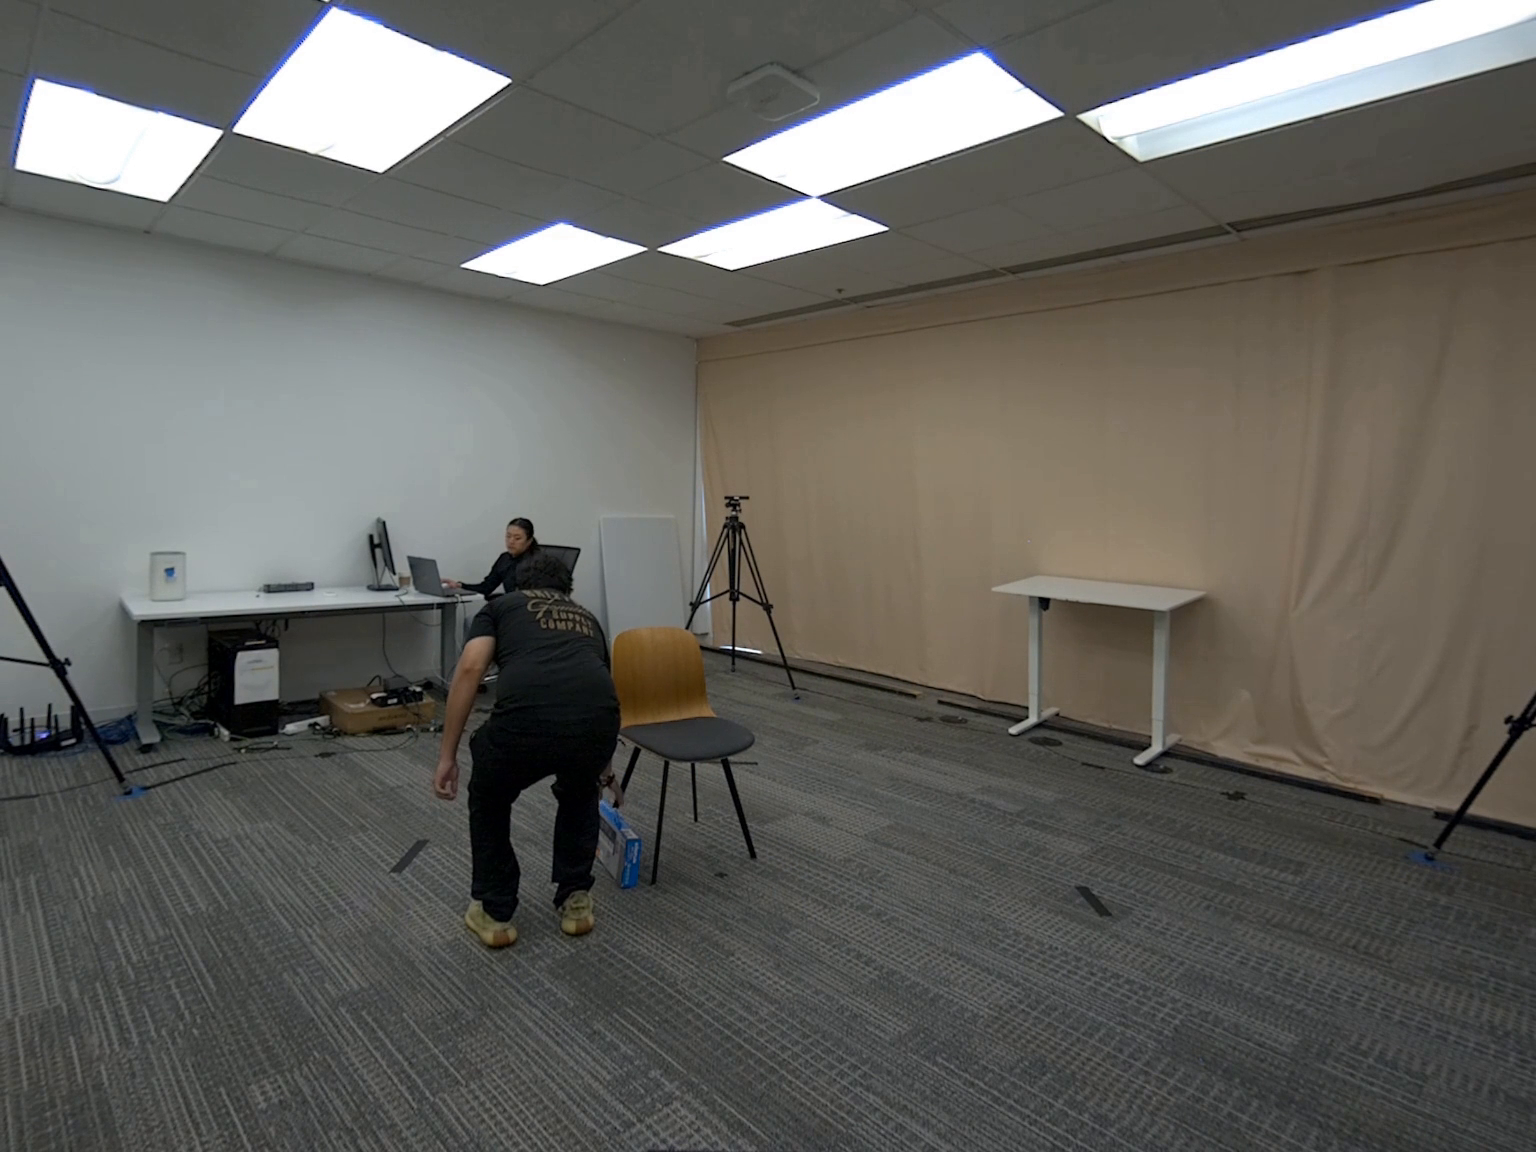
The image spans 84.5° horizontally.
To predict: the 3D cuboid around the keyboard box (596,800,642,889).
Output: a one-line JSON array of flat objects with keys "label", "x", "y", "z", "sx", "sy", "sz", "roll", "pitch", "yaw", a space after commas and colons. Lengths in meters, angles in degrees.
[{"label": "keyboard box", "x": -0.598, "y": 1.004, "z": 3.175, "sx": 0.058, "sy": 0.176, "sz": 0.447, "roll": 6, "pitch": 2, "yaw": -29}]
